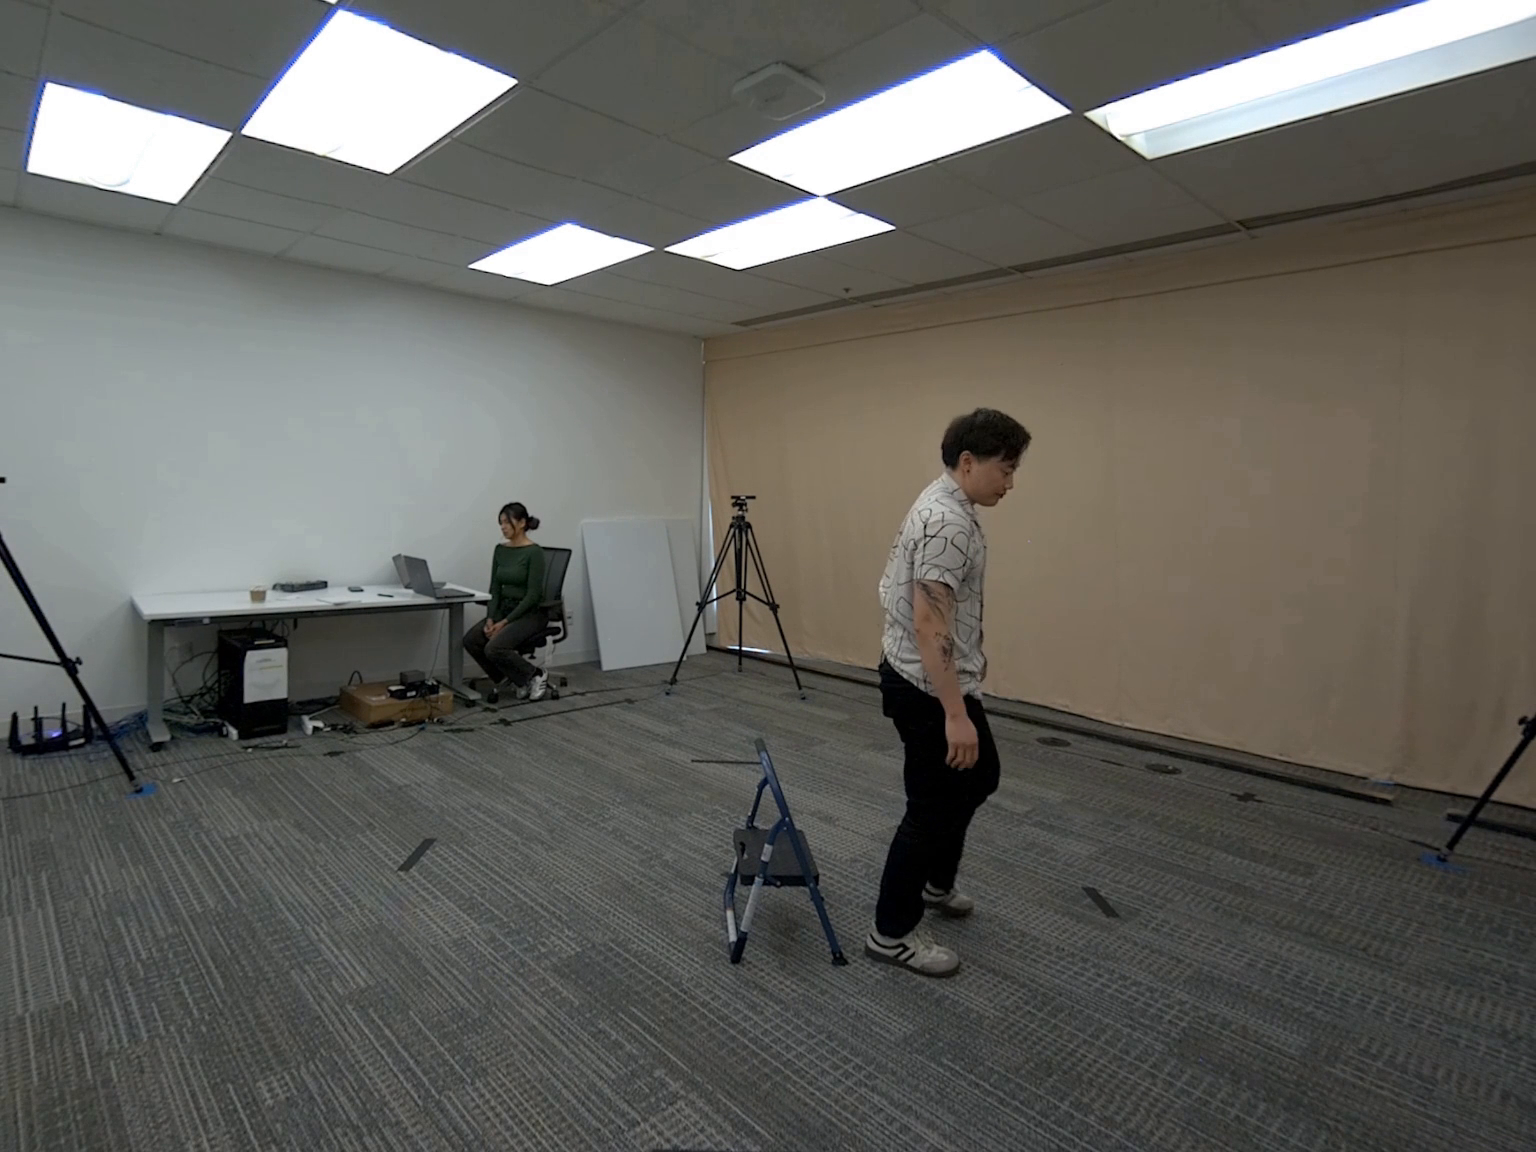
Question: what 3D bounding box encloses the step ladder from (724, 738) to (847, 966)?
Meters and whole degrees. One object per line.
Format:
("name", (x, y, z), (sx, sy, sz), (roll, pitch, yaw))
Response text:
("step ladder", (0.034, 0.845, 2.705), (0.348, 0.604, 0.433), (0, 4, -5))
